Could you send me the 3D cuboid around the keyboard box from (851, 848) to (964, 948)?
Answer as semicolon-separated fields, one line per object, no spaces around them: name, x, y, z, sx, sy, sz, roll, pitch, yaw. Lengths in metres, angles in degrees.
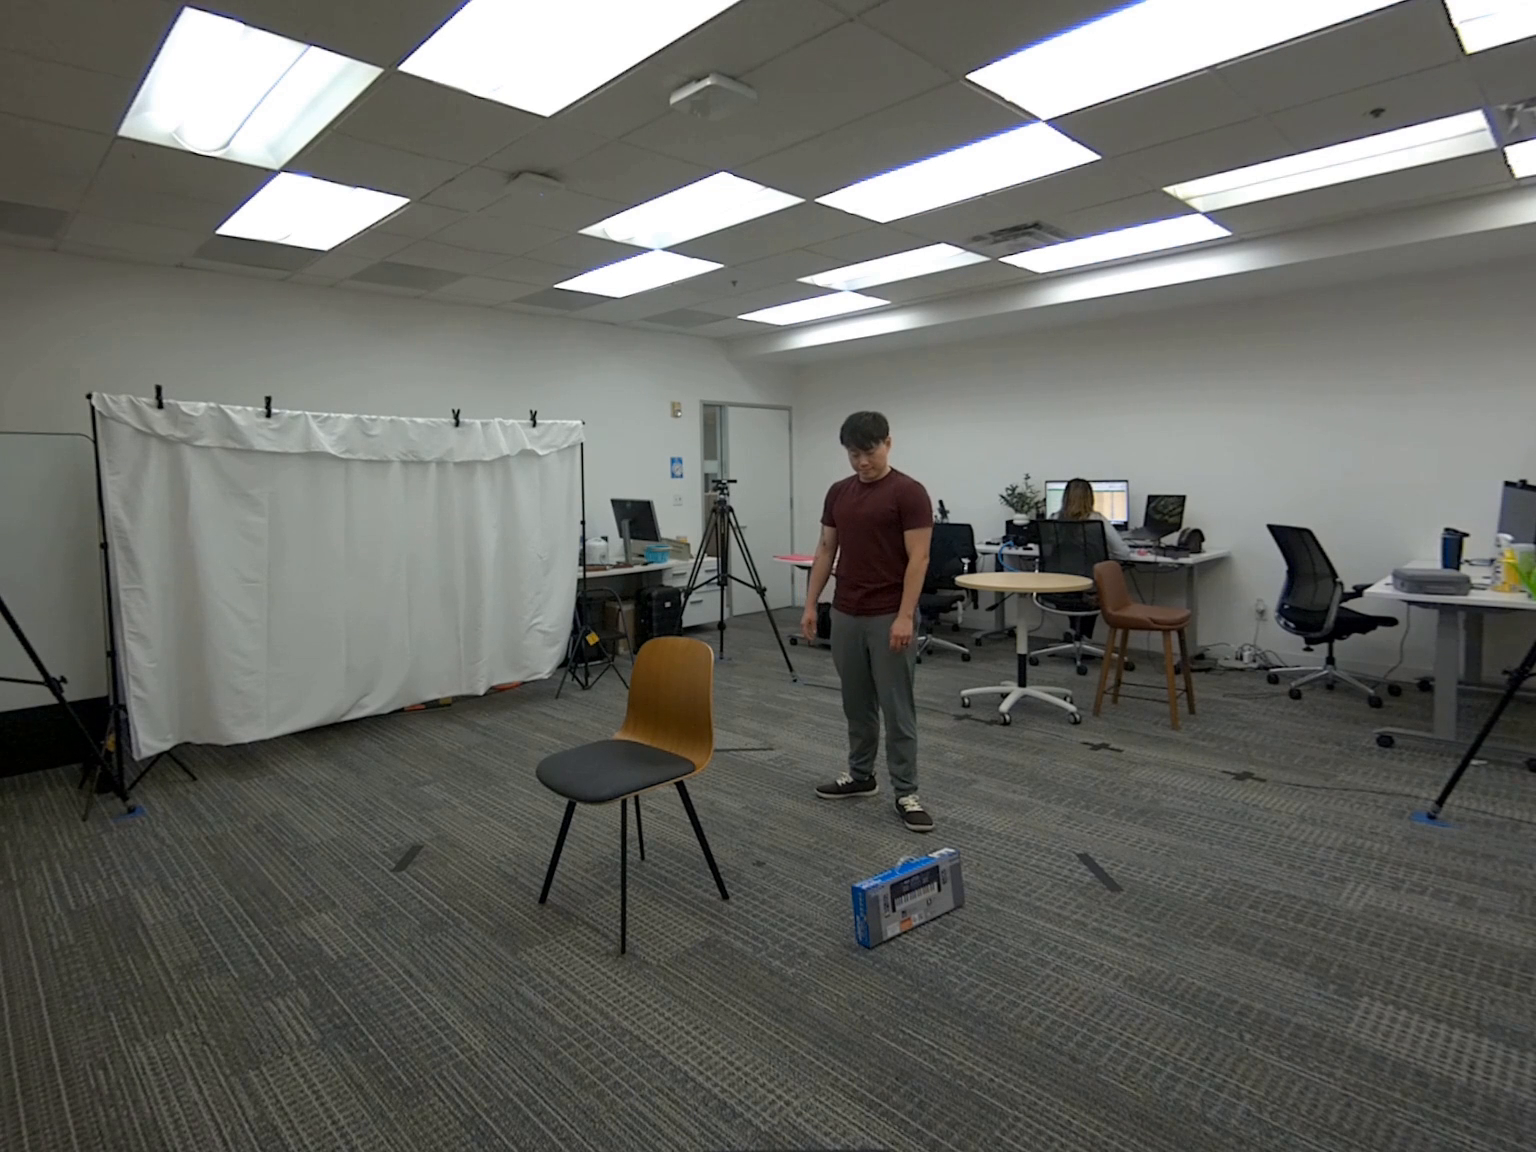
keyboard box;0.447;0.996;2.674;0.426;0.176;0.060;-5;-2;-35
